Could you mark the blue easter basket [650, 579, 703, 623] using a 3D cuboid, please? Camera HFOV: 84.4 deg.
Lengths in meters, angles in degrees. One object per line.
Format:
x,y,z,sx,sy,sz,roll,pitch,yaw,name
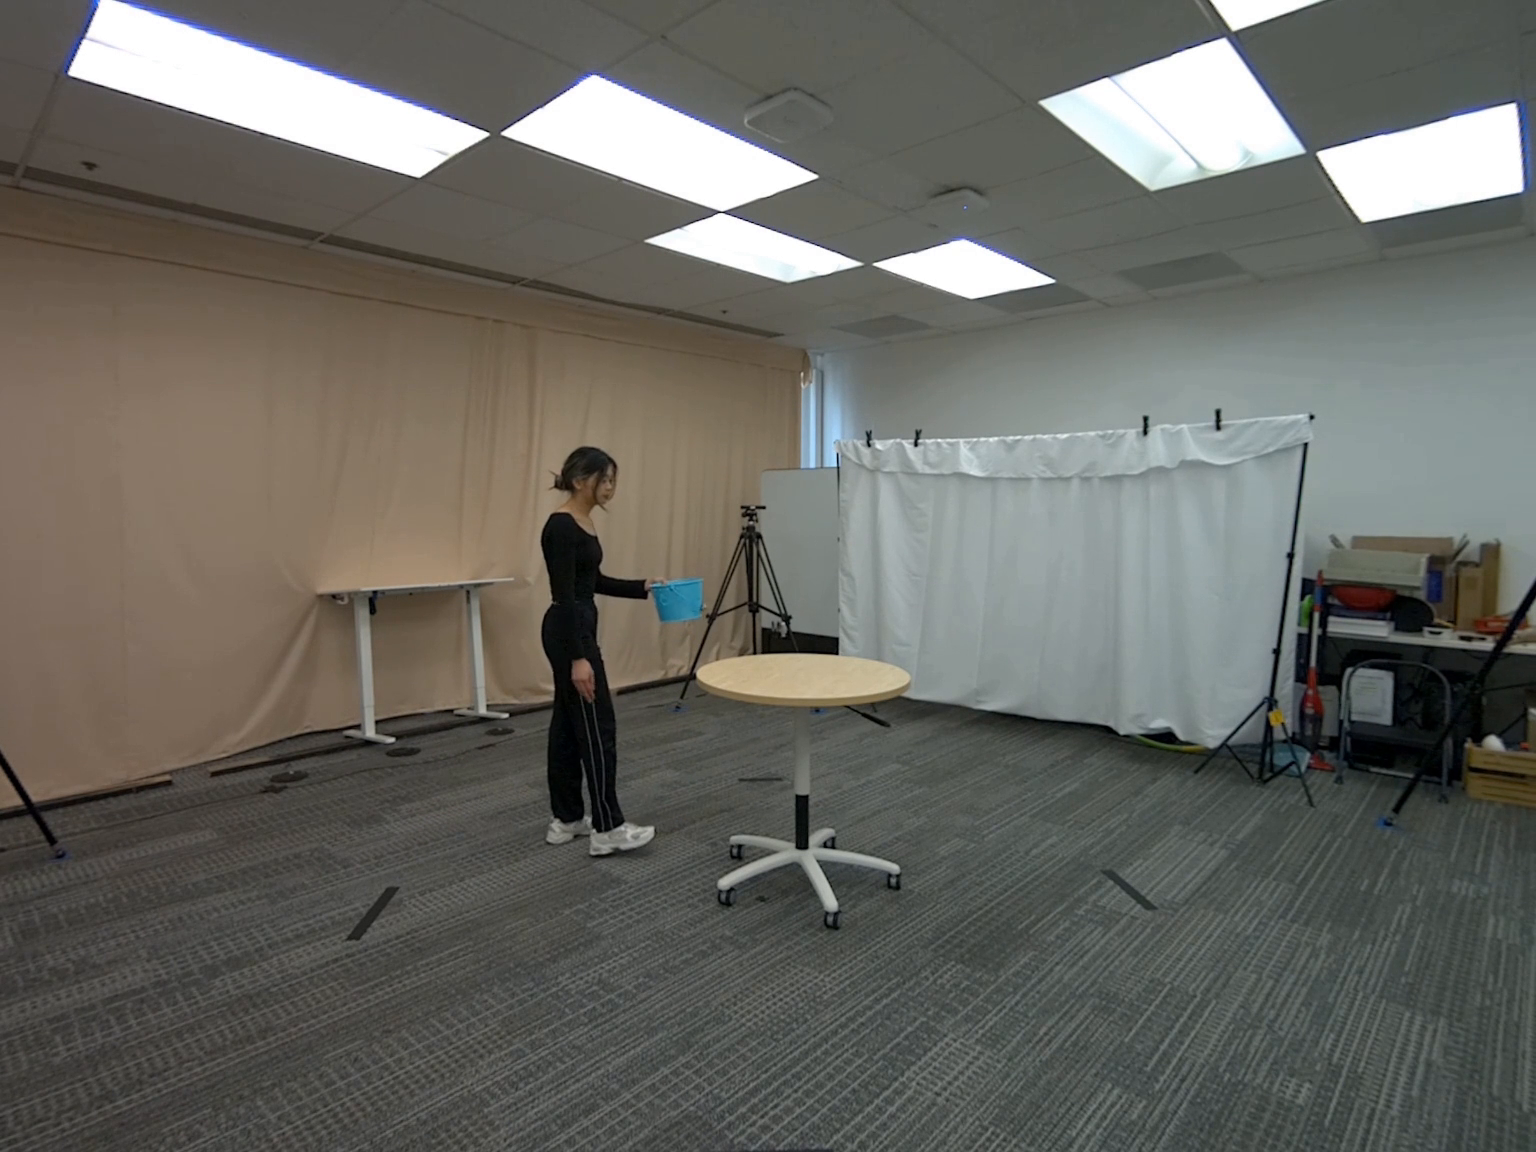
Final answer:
-0.387,0.110,3.540,0.243,0.156,0.244,-5,2,-2,blue easter basket
